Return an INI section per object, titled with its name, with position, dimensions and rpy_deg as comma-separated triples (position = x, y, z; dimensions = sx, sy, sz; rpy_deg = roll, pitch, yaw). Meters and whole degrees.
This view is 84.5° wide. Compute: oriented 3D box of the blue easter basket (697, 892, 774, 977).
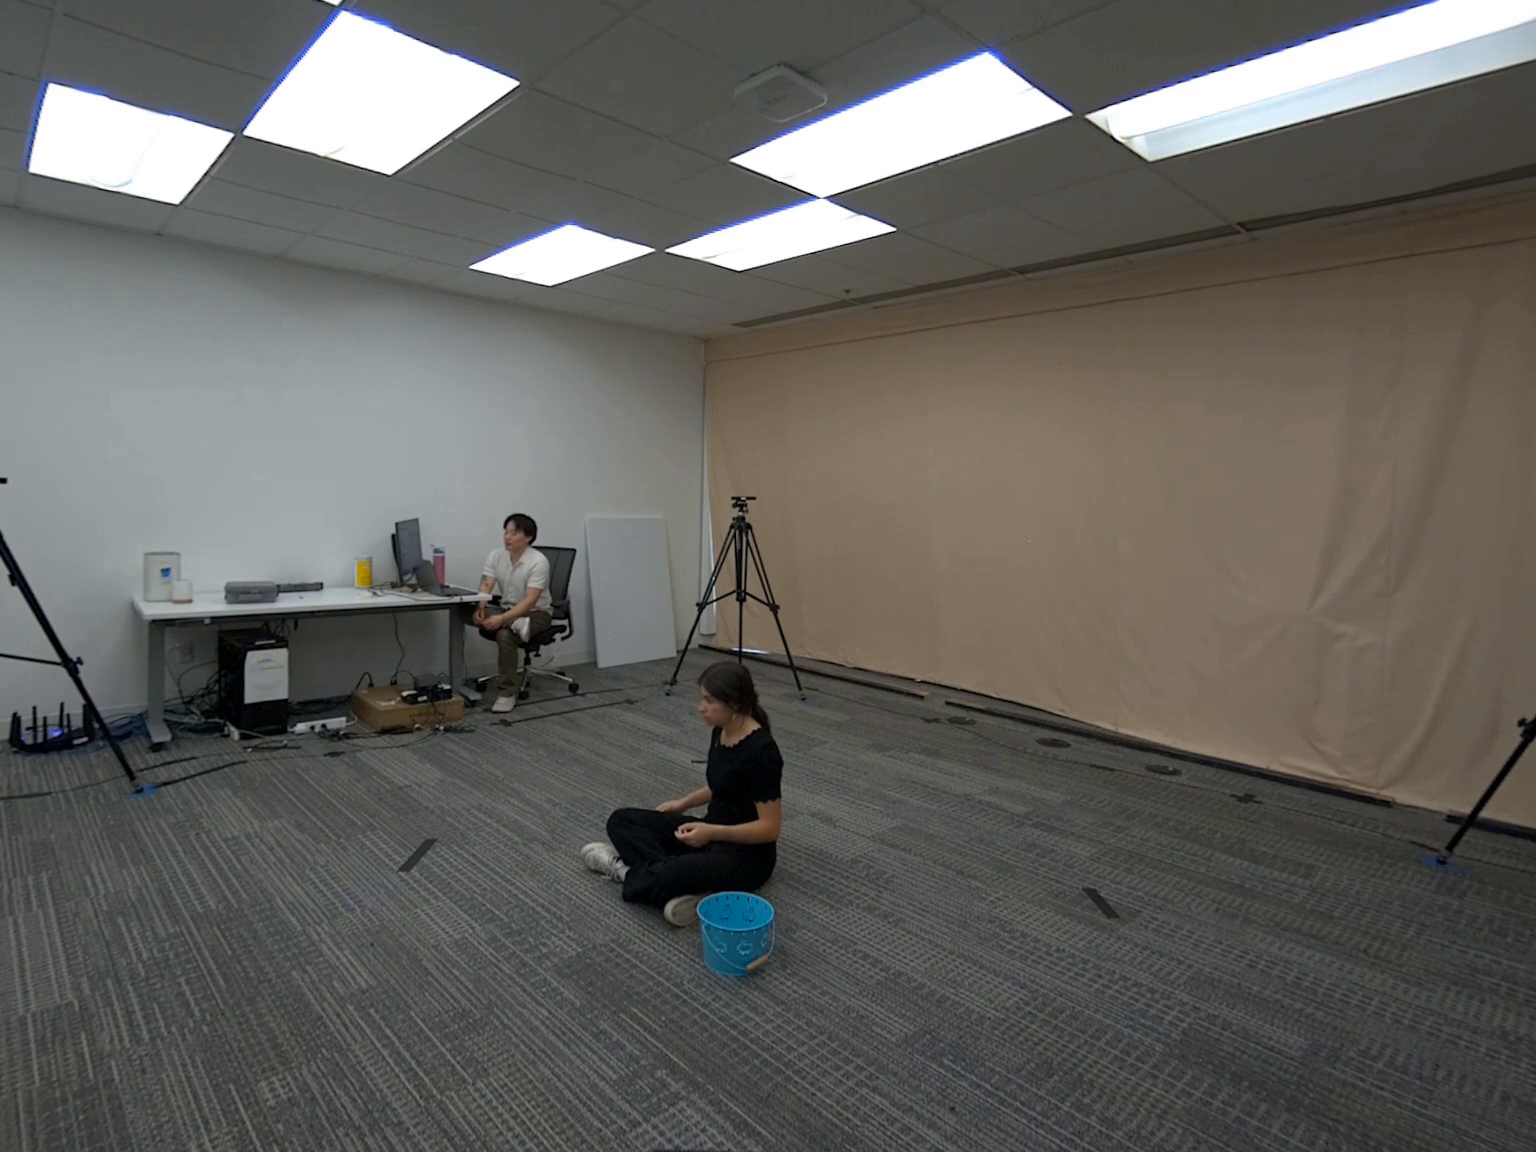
[blue easter basket]
position = -0.112, 1.080, 2.528
dimensions = 0.243, 0.155, 0.244
rpy_deg = 1, 4, -1
